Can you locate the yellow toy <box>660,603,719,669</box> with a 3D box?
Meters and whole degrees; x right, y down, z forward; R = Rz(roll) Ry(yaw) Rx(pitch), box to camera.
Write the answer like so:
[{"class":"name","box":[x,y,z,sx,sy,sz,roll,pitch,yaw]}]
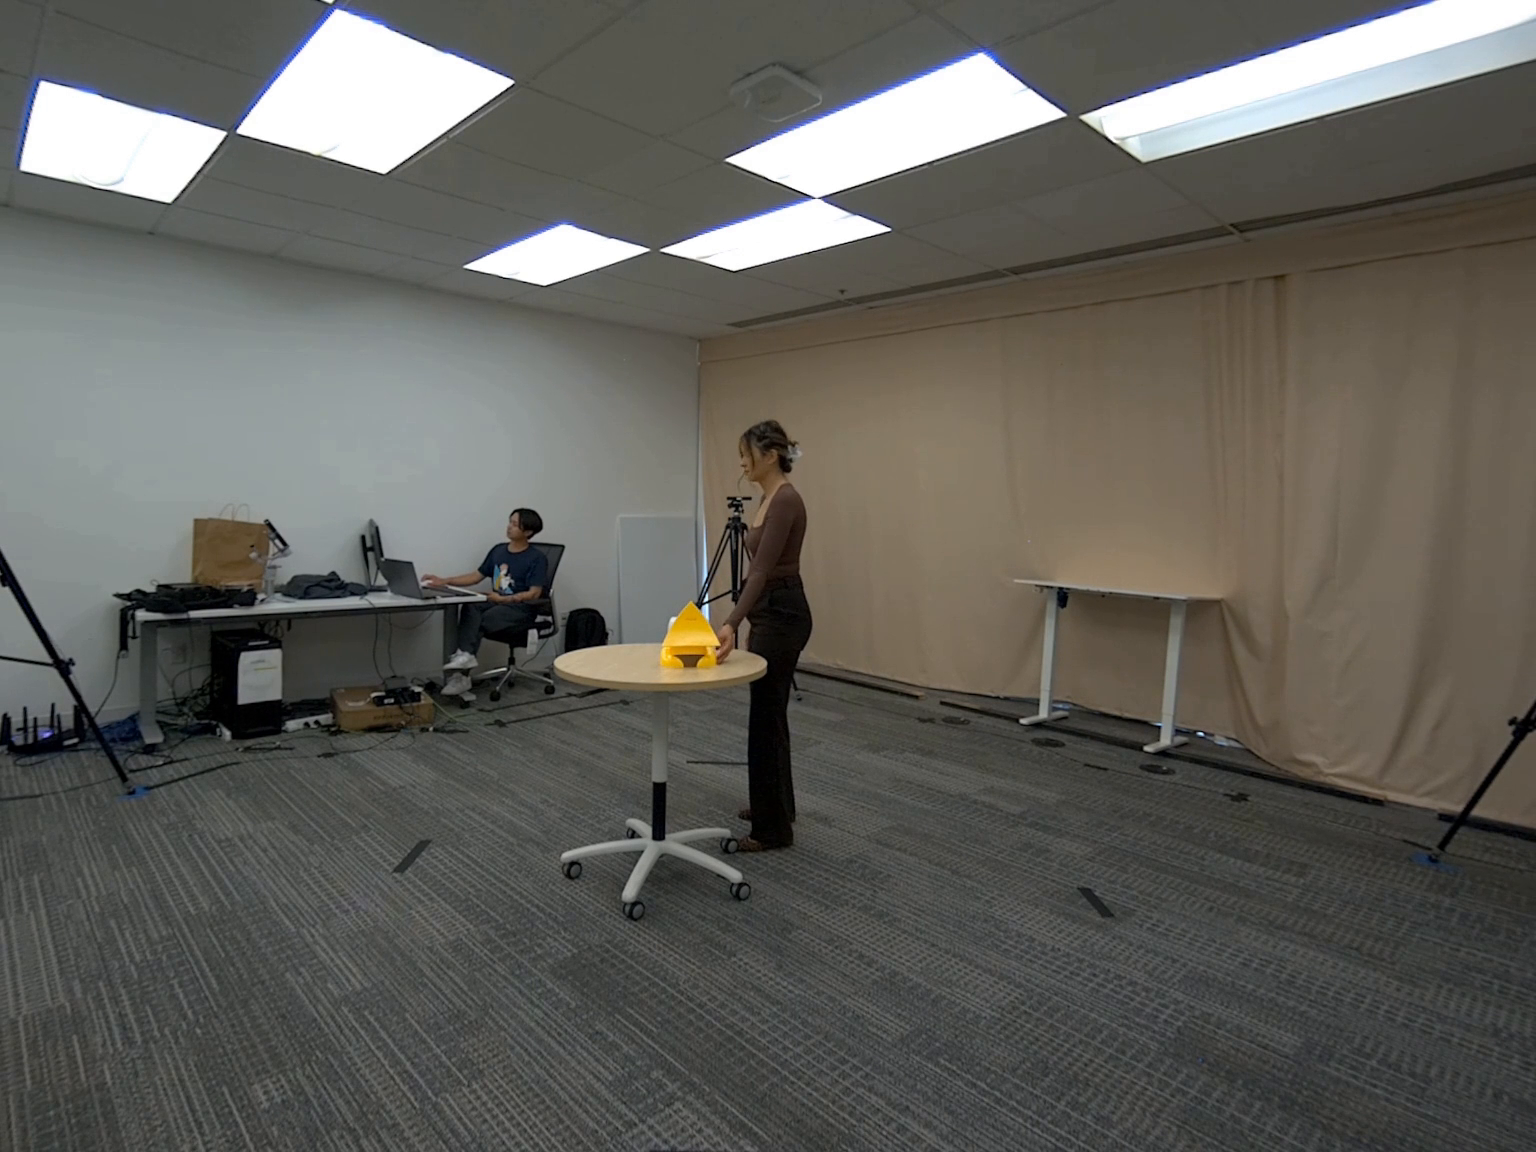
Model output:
[{"class":"yellow toy","box":[-0.293,0.199,2.998,0.203,0.230,0.195,0,5,-12]}]
